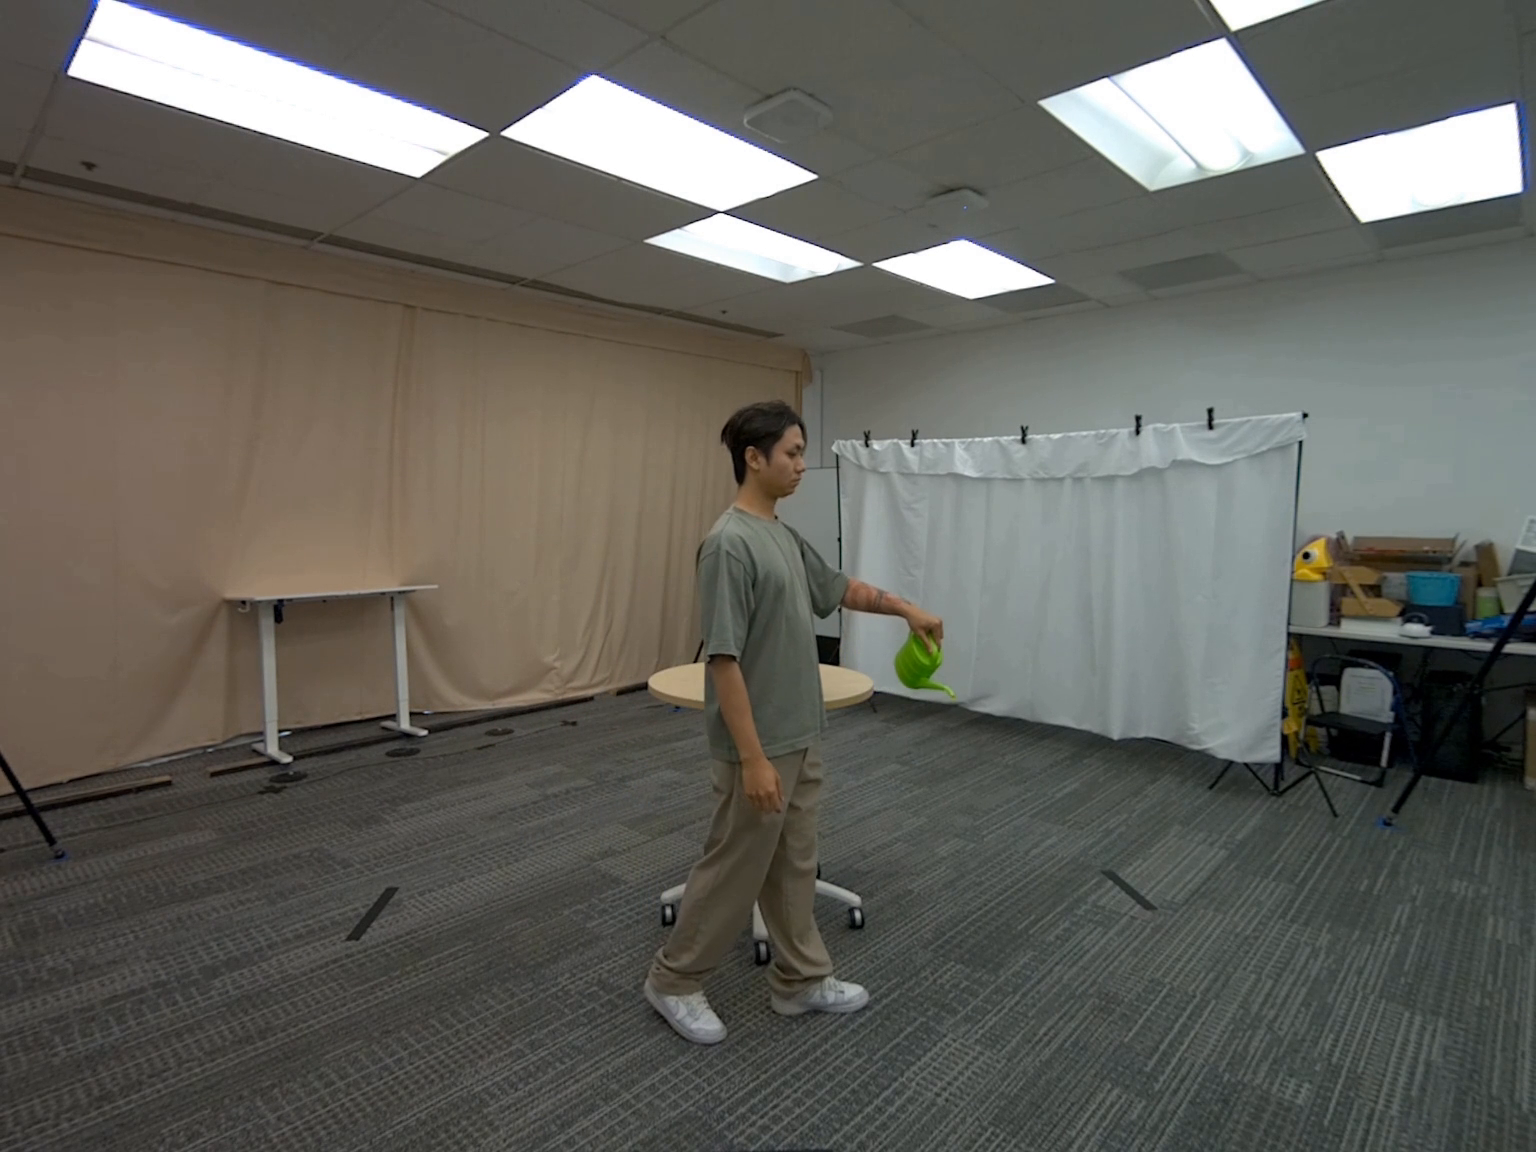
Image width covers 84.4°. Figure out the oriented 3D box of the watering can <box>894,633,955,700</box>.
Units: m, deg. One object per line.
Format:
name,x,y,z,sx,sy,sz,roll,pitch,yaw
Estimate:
watering can,0.445,0.266,2.384,0.097,0.282,0.175,13,-39,-7
